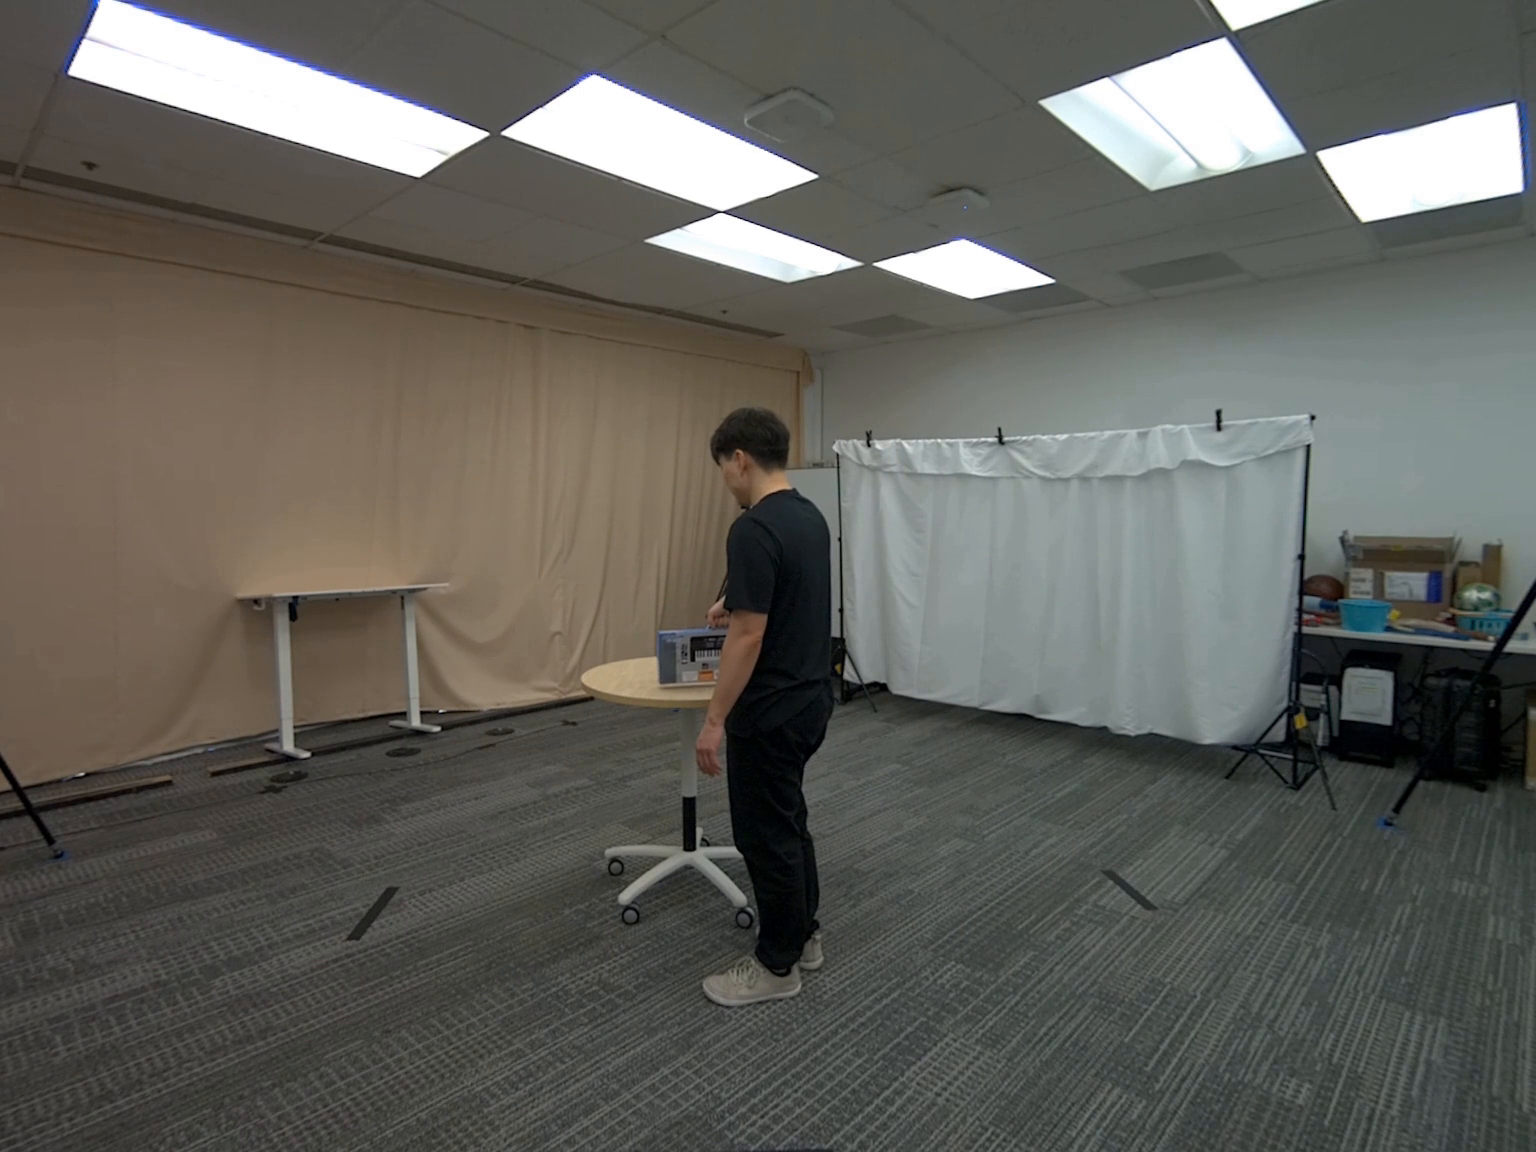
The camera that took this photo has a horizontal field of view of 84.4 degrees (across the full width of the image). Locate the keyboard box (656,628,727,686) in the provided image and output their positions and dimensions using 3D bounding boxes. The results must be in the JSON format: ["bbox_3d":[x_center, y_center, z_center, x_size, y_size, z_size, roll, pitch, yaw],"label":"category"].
[{"bbox_3d":[-0.158,0.265,2.861,0.430,0.175,0.060,-2,4,-15],"label":"keyboard box"}]
